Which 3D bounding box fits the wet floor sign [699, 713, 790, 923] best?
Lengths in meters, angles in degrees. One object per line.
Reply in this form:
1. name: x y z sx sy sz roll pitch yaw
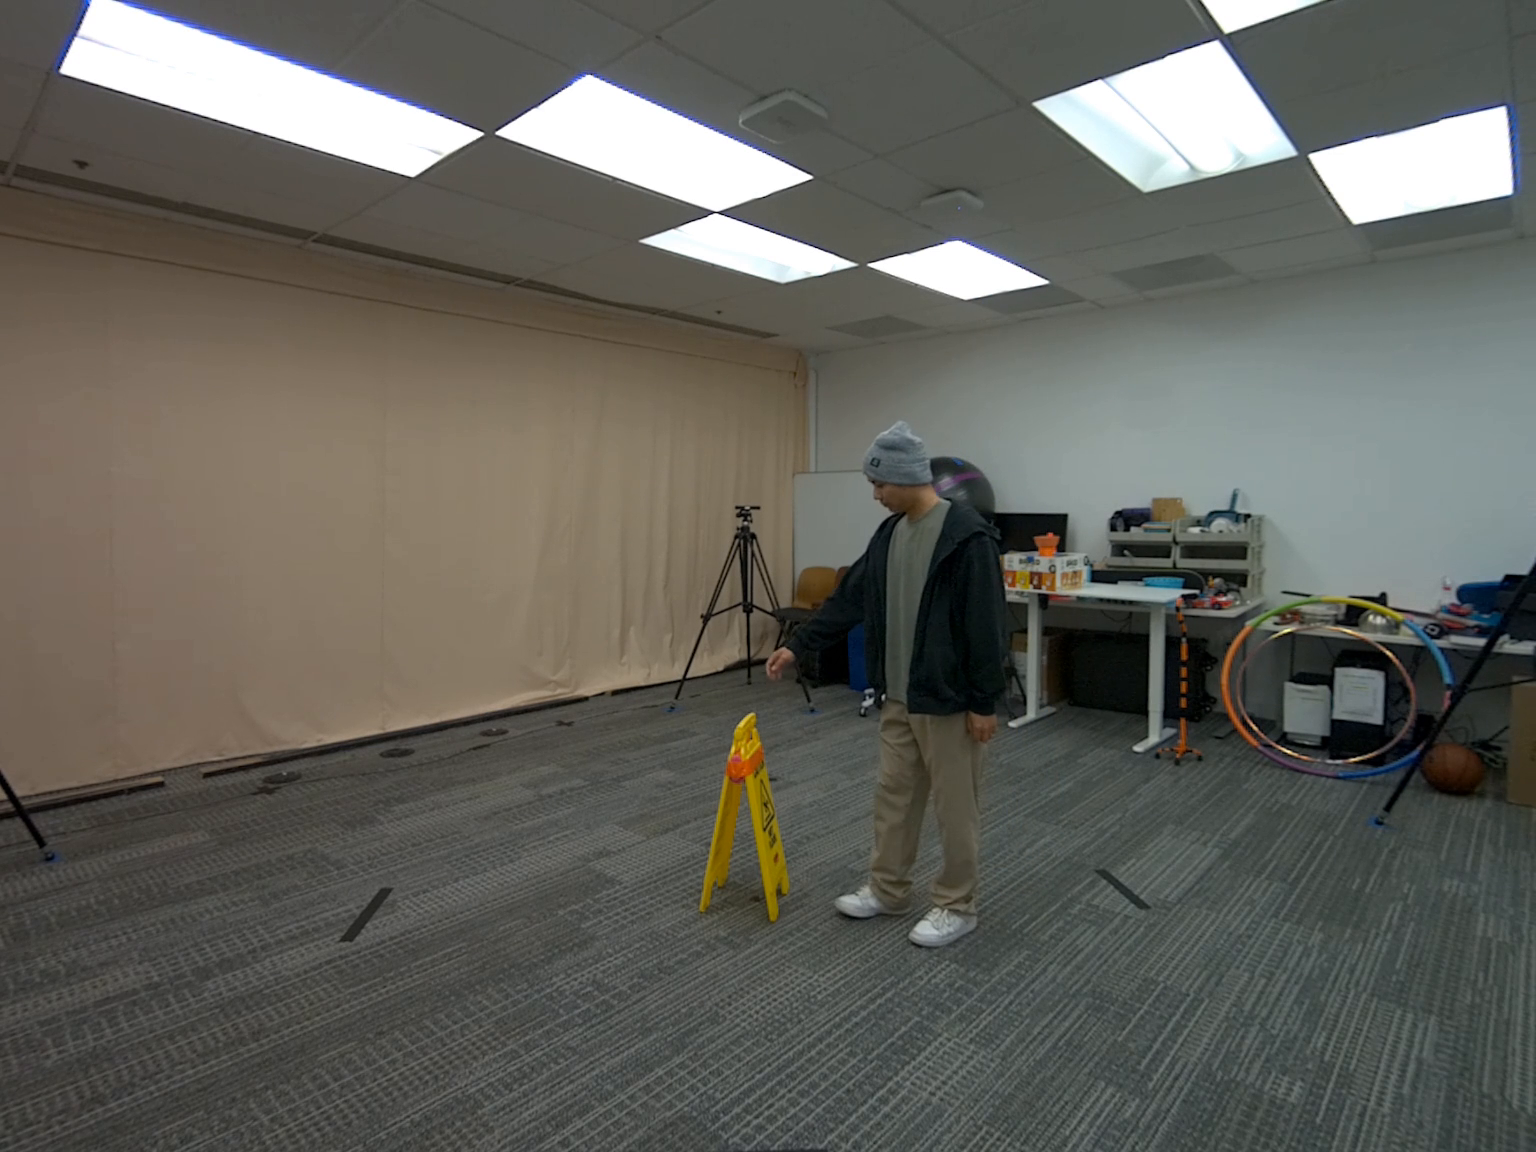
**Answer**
1. wet floor sign: -0.079 0.821 2.961 0.294 0.645 0.278 0 2 14
